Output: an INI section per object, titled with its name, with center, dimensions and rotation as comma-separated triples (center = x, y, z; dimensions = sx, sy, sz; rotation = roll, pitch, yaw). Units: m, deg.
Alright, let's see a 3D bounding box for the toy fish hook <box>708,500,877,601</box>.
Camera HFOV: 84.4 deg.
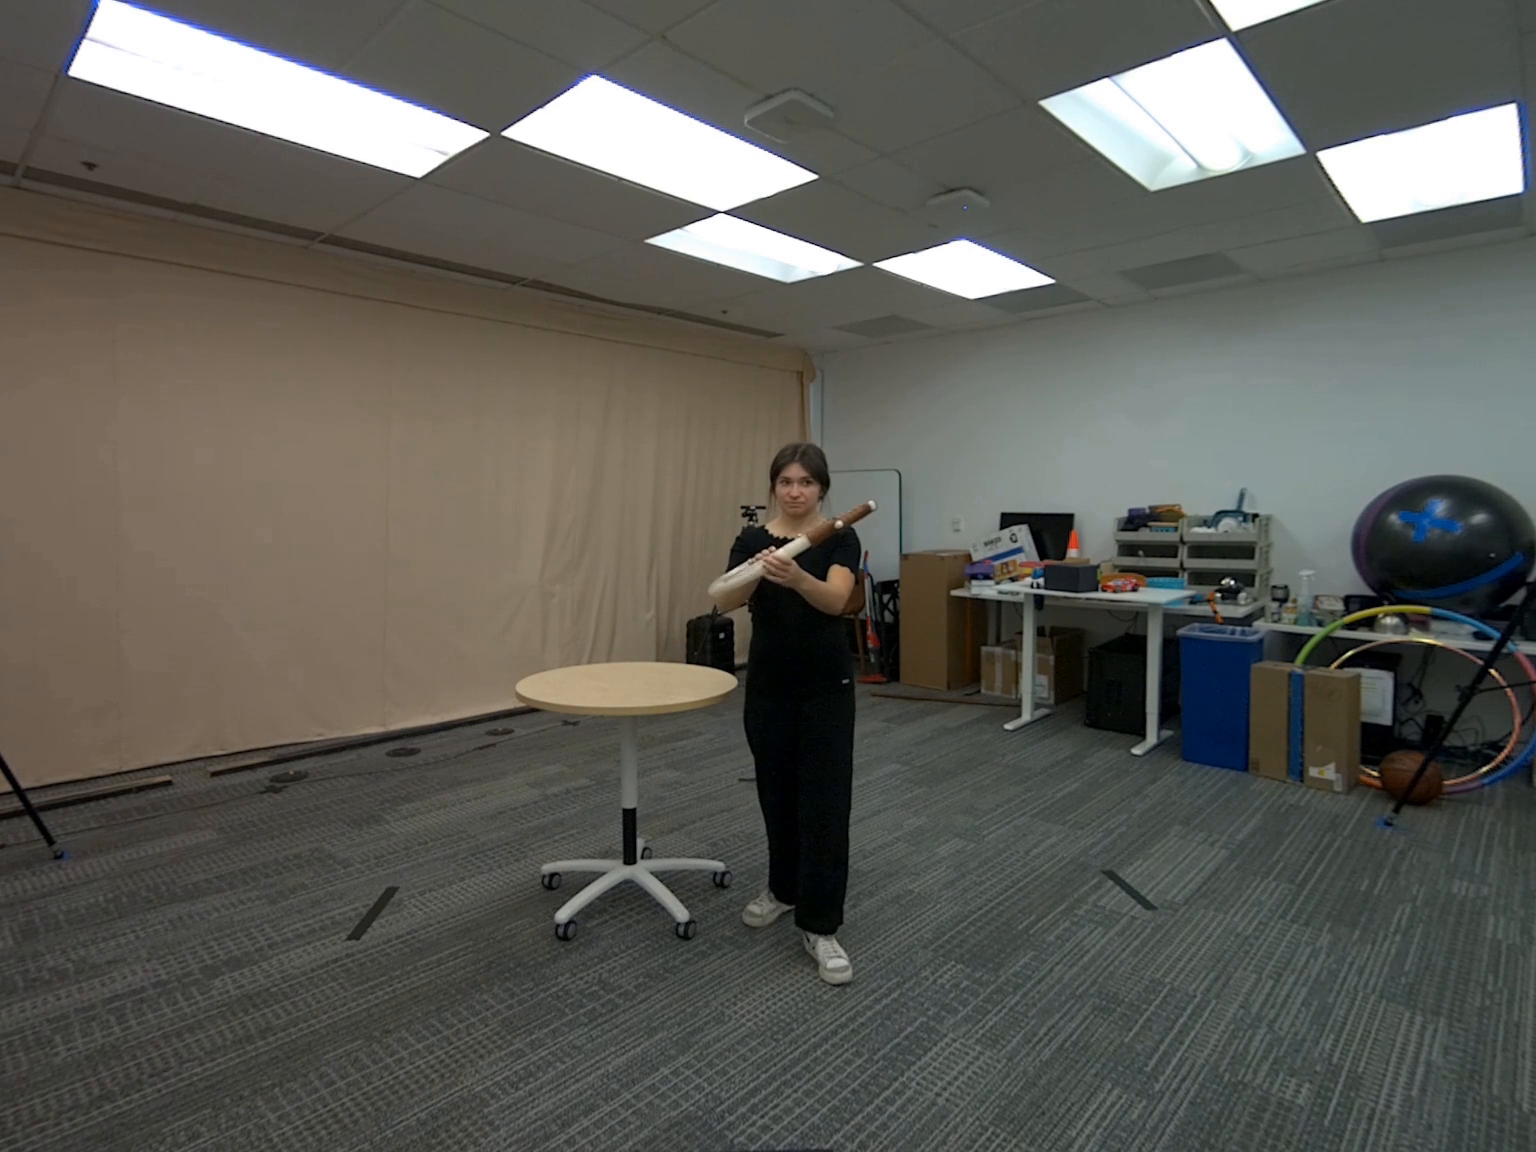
[toy fish hook]
center = 0.071, -0.085, 2.283
dimensions = 0.509, 0.047, 0.226
rotation = -29, 14, 8
